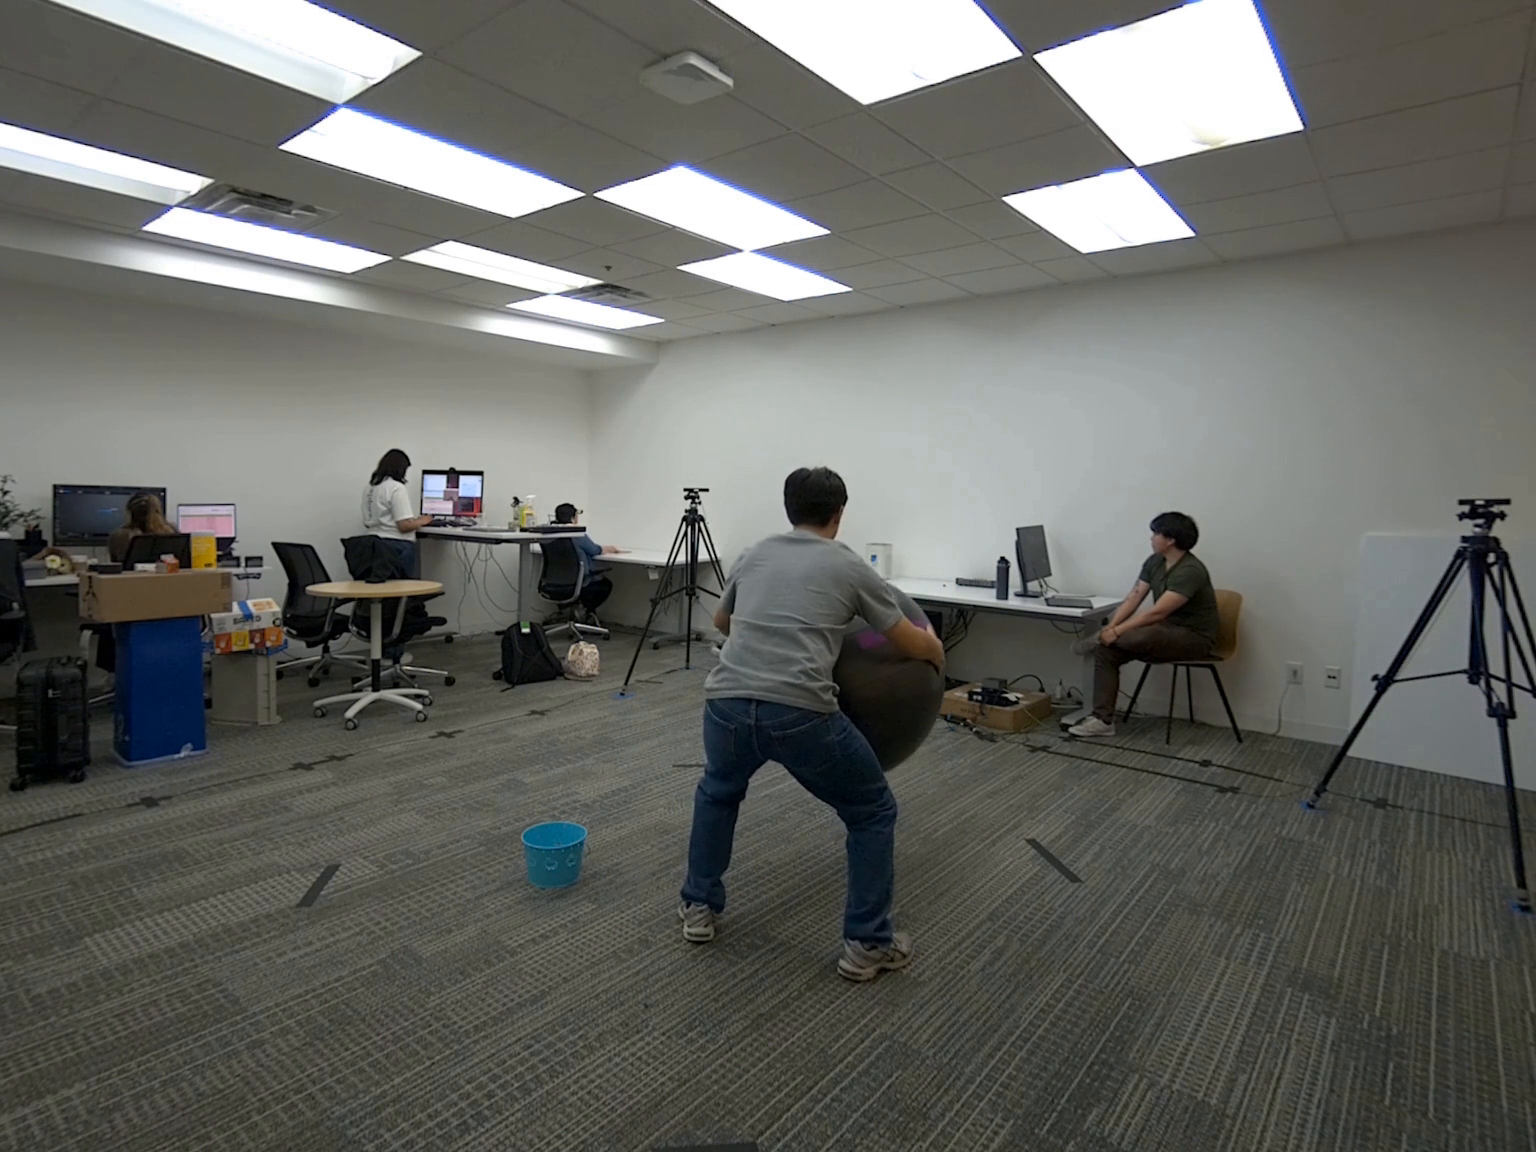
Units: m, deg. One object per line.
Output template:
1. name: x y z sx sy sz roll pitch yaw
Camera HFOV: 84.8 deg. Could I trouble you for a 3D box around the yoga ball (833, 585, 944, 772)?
1. yoga ball: 0.261 0.358 3.150 0.757 0.755 0.762 1 4 -2
